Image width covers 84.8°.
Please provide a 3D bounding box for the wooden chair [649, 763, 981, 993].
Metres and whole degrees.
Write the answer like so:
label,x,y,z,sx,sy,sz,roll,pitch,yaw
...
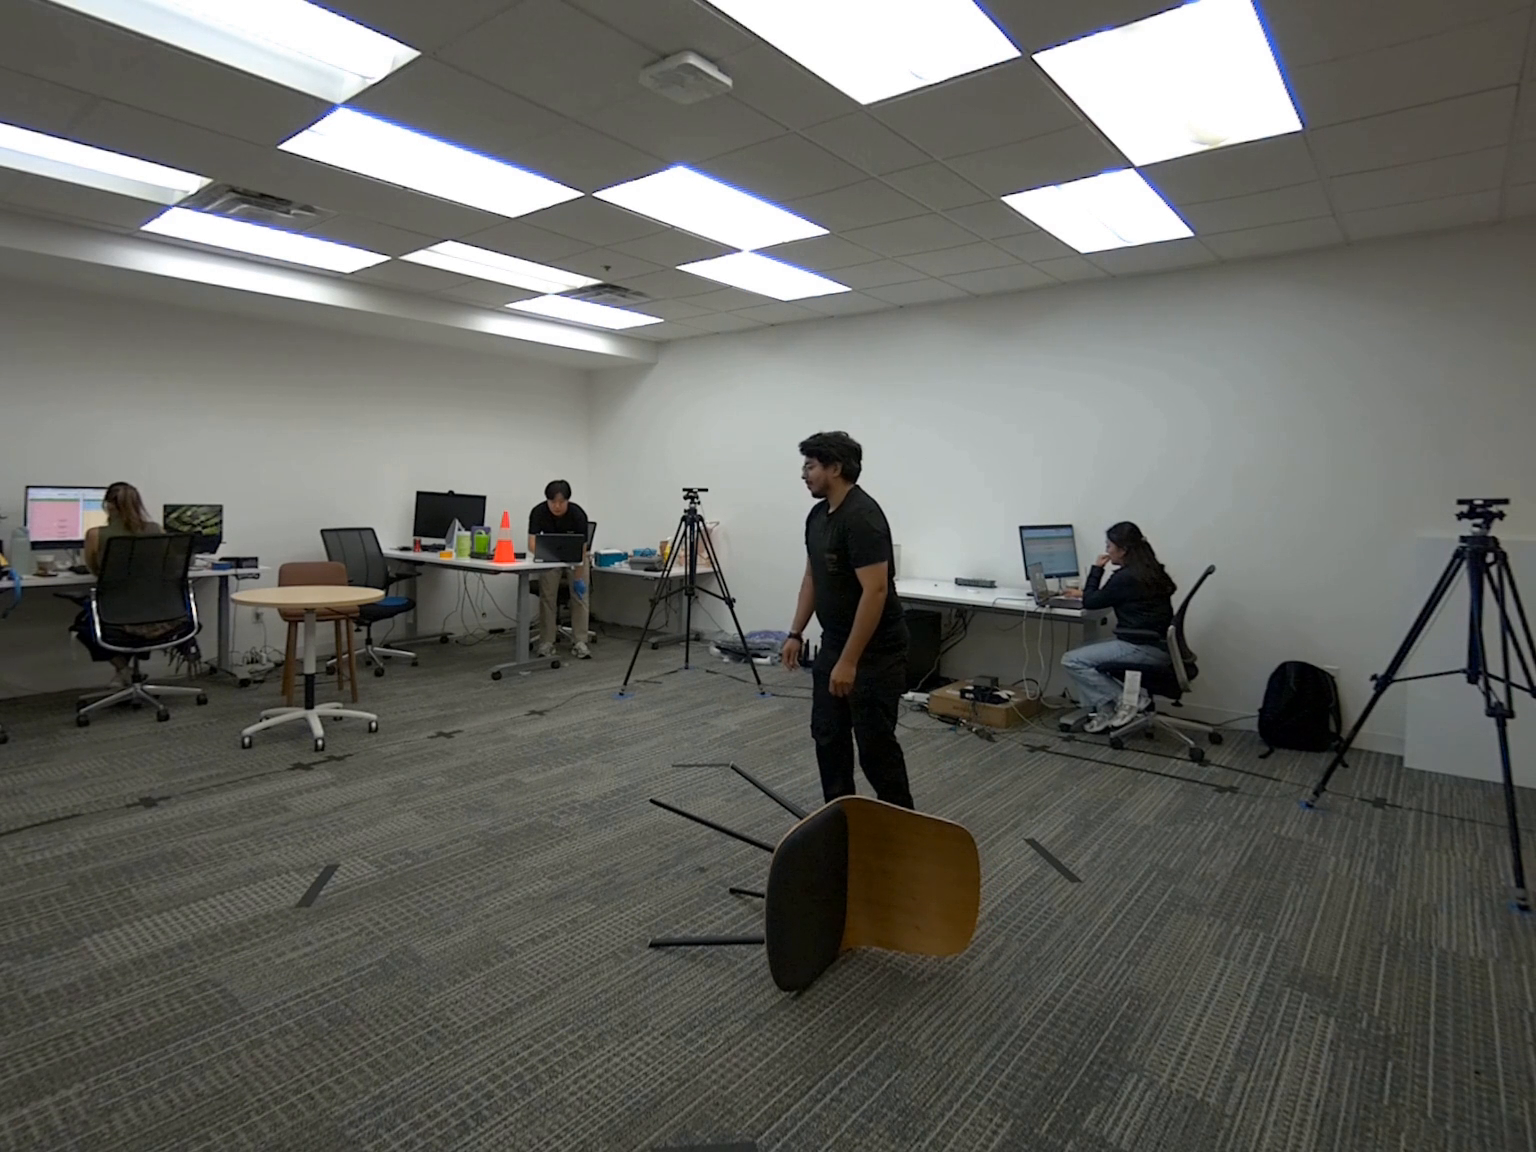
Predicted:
label,x,y,z,sx,sy,sz,roll,pitch,yaw
wooden chair,0.115,0.907,2.502,0.903,0.477,0.510,4,5,29
